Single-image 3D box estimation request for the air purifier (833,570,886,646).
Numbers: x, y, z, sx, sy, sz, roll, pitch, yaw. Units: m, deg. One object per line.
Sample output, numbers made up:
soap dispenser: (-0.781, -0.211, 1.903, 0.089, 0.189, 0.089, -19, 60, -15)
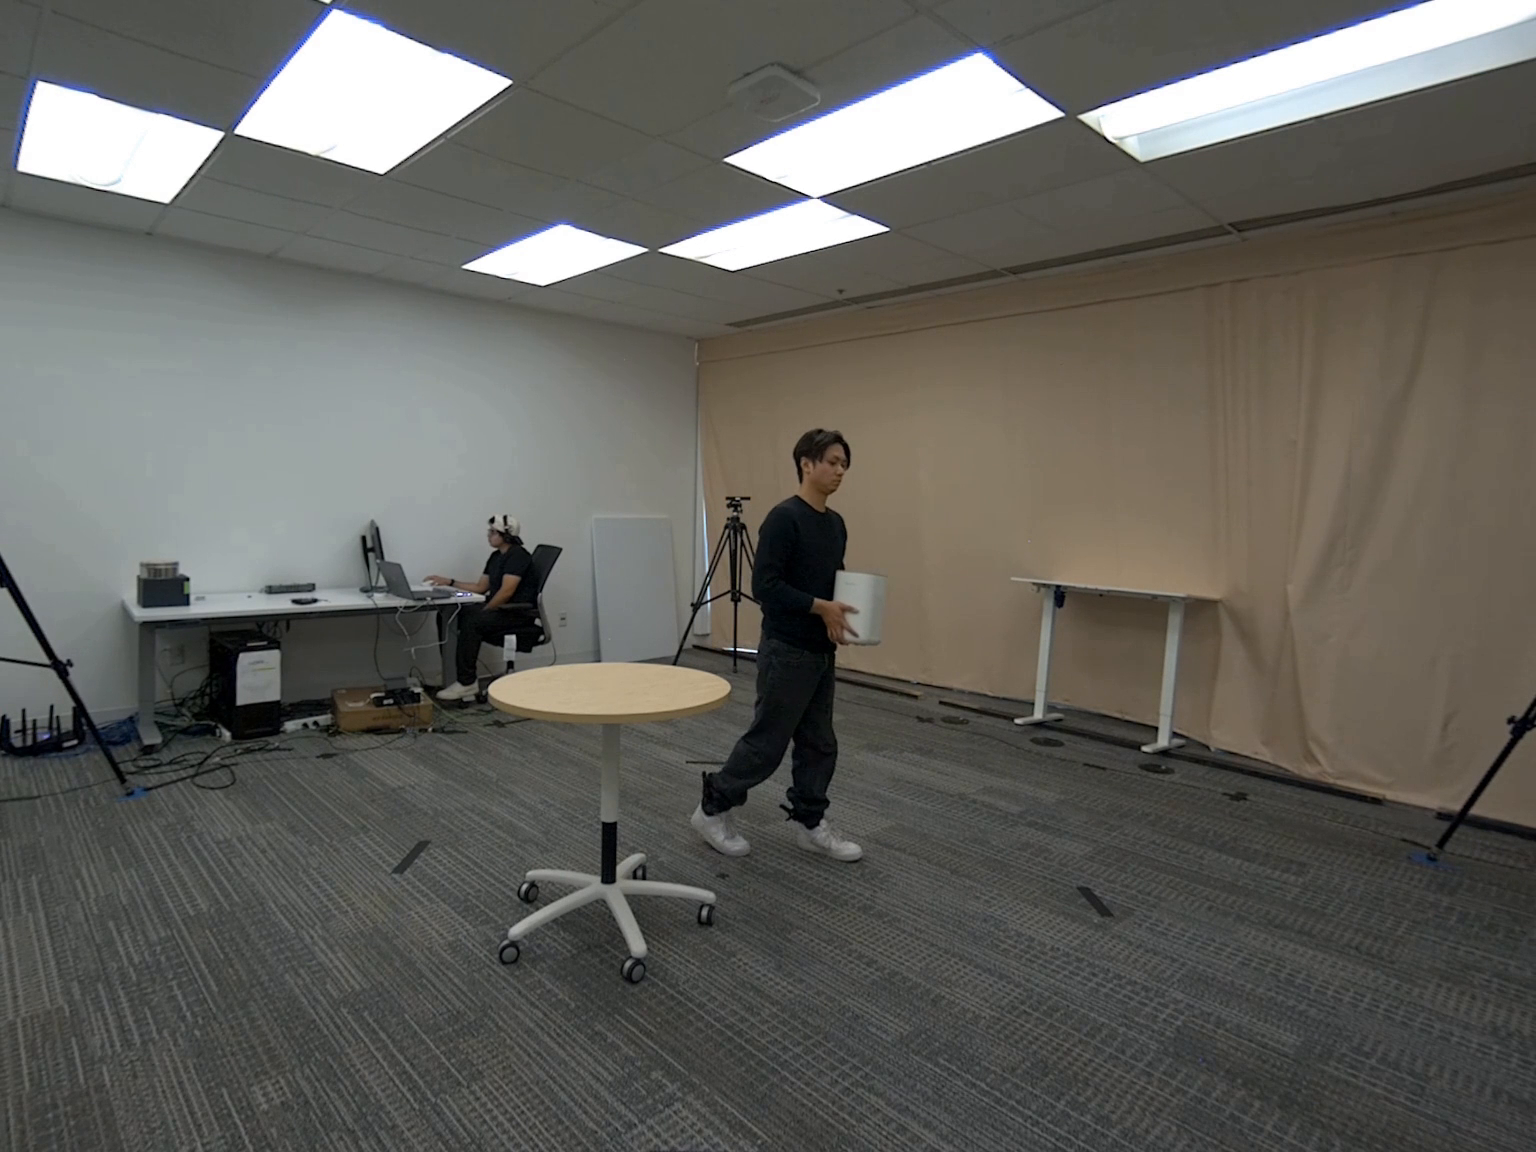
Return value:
air purifier: (0.322, 0.120, 3.155, 0.175, 0.266, 0.167, 4, -3, 33)
